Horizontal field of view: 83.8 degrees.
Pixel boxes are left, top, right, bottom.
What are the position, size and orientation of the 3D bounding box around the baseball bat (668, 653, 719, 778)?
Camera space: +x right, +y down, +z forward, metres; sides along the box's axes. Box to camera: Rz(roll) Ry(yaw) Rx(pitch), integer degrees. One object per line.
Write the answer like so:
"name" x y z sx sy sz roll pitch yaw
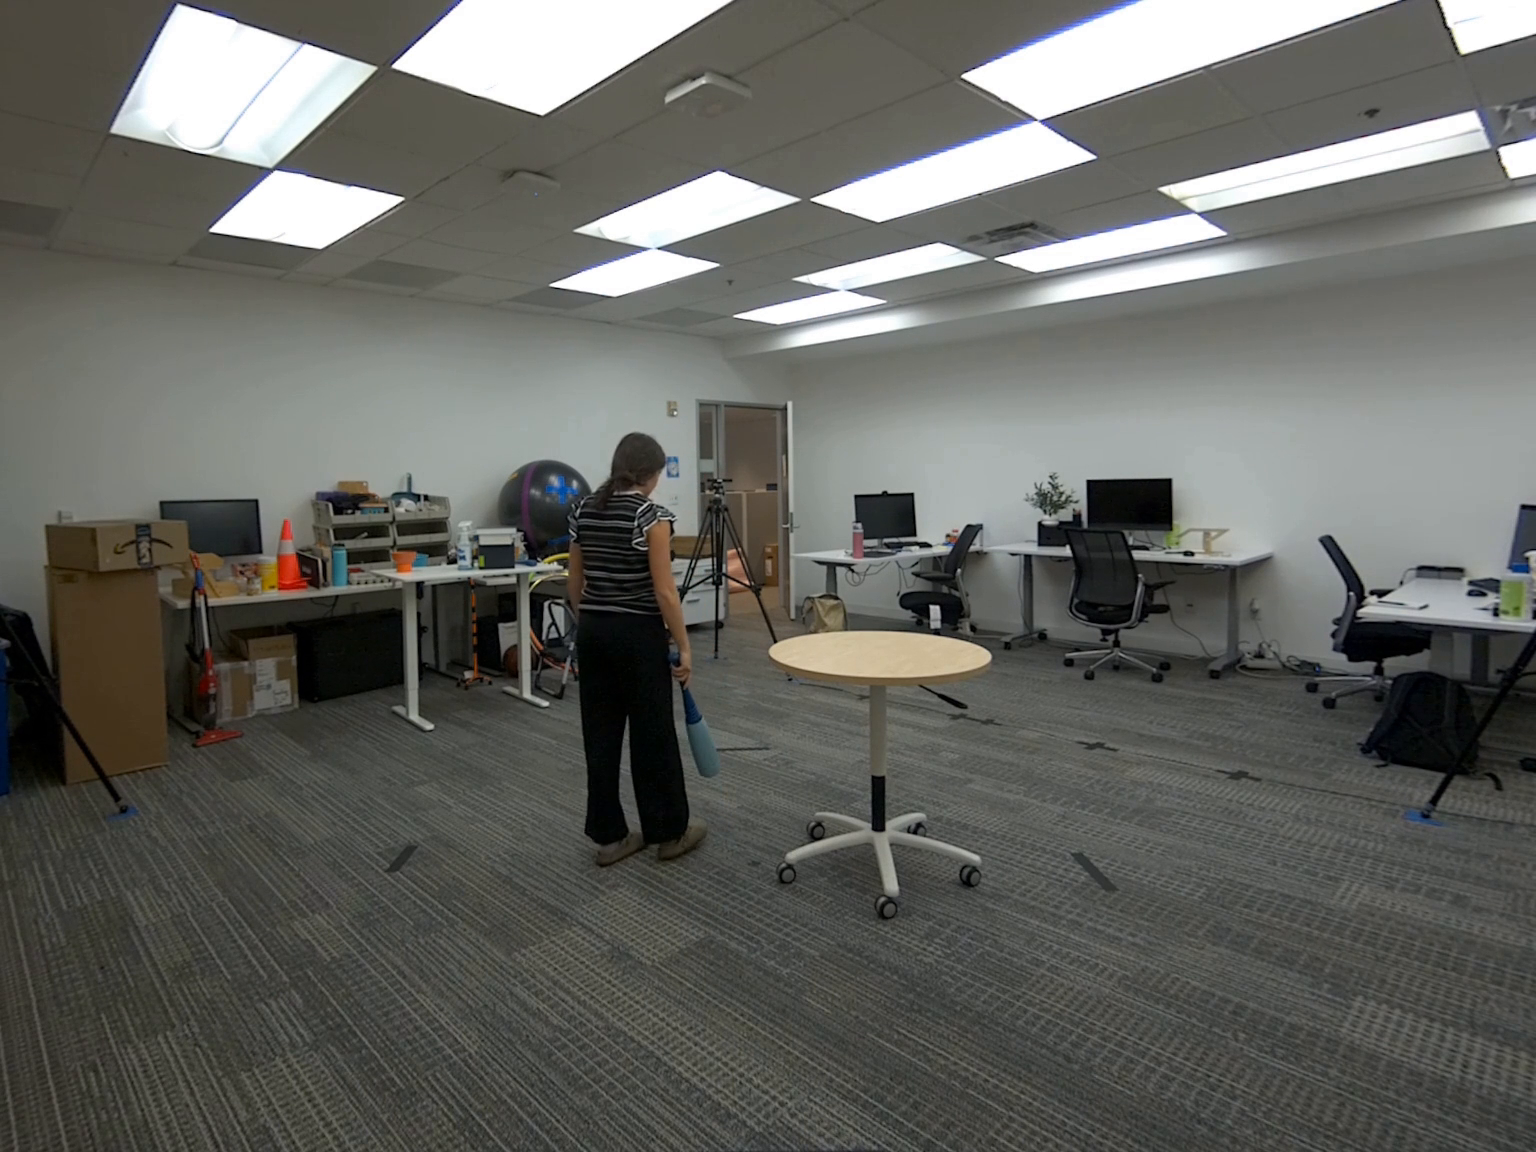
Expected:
"baseball bat" -0.285 0.522 3.203 0.089 0.531 0.091 -14 21 4
